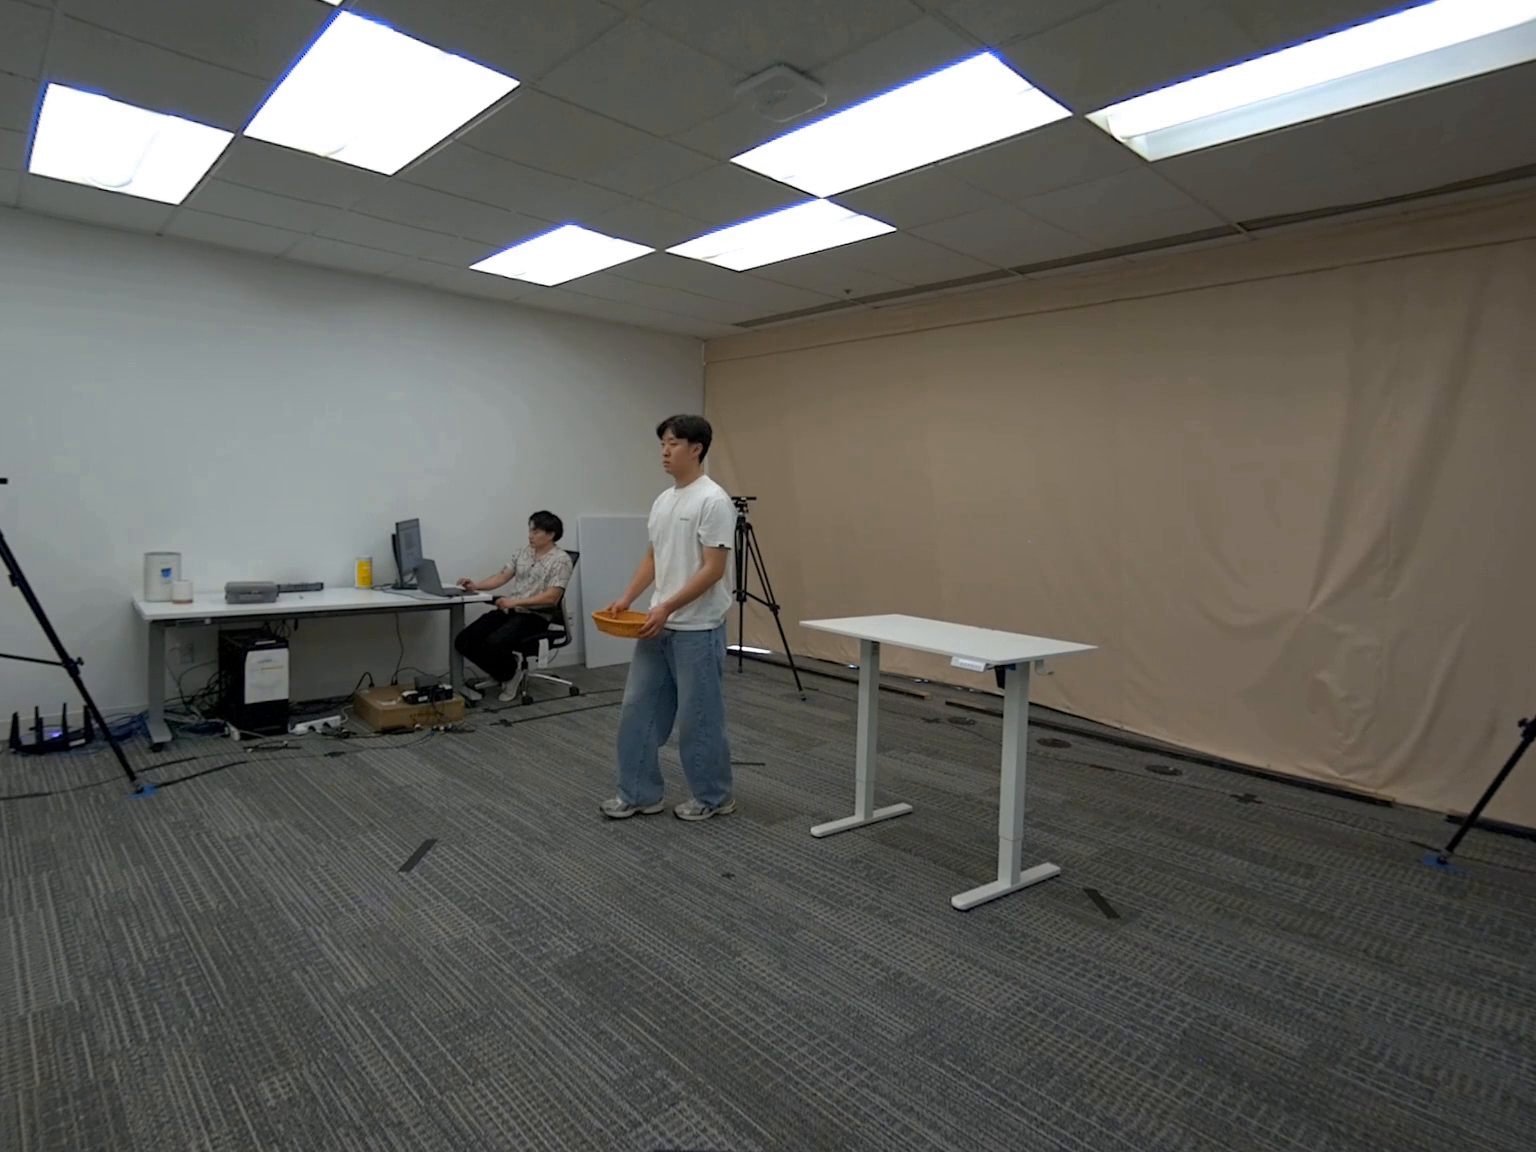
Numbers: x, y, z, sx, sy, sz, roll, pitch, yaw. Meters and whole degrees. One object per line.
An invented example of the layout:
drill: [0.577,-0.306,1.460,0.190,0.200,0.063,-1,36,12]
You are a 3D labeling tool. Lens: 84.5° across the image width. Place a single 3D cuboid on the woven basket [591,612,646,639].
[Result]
woven basket: [-0.600,0.196,3.502,0.247,0.073,0.359,-1,7,-36]
